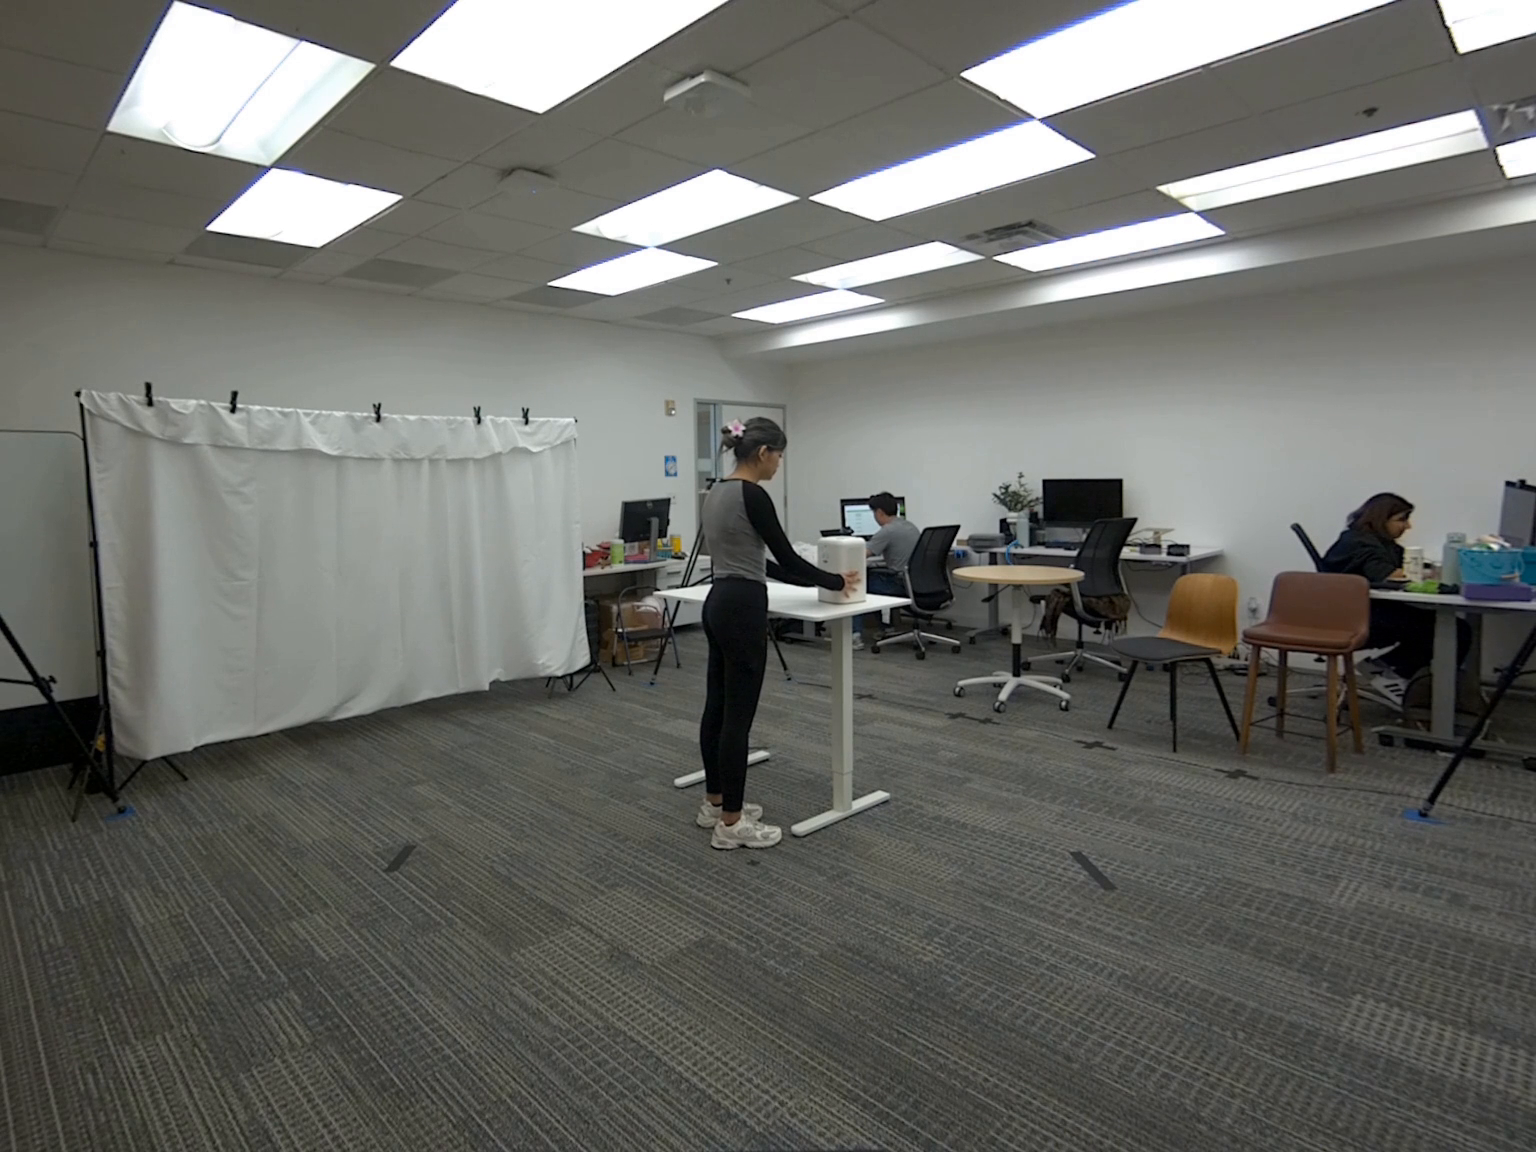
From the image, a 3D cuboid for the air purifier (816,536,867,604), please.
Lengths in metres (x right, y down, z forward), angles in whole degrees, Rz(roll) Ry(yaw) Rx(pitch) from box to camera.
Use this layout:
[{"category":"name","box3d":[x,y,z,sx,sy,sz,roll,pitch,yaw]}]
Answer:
[{"category":"air purifier","box3d":[0.300,-0.028,3.550,0.167,0.264,0.176,-4,7,-34]}]
